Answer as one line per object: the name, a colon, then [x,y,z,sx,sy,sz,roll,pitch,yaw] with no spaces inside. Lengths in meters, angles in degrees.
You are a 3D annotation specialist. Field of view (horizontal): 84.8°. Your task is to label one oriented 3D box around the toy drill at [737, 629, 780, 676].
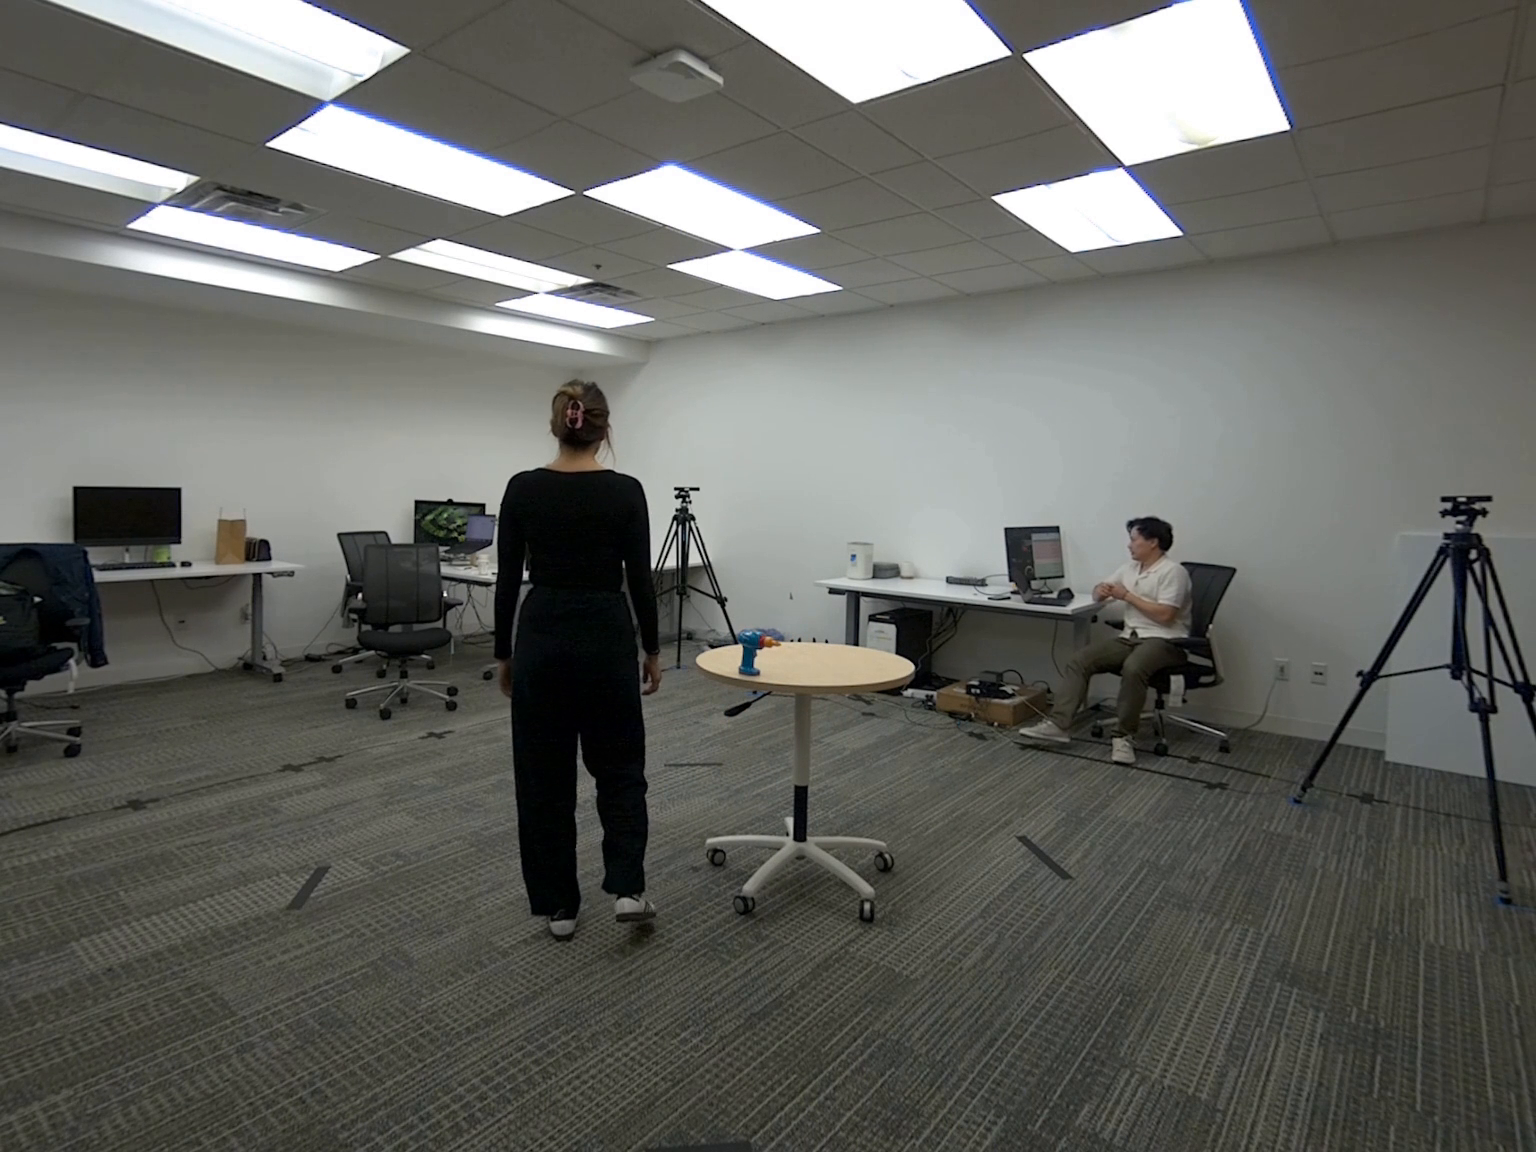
toy drill: [-0.036,0.248,2.760,0.175,0.146,0.059,3,3,32]
